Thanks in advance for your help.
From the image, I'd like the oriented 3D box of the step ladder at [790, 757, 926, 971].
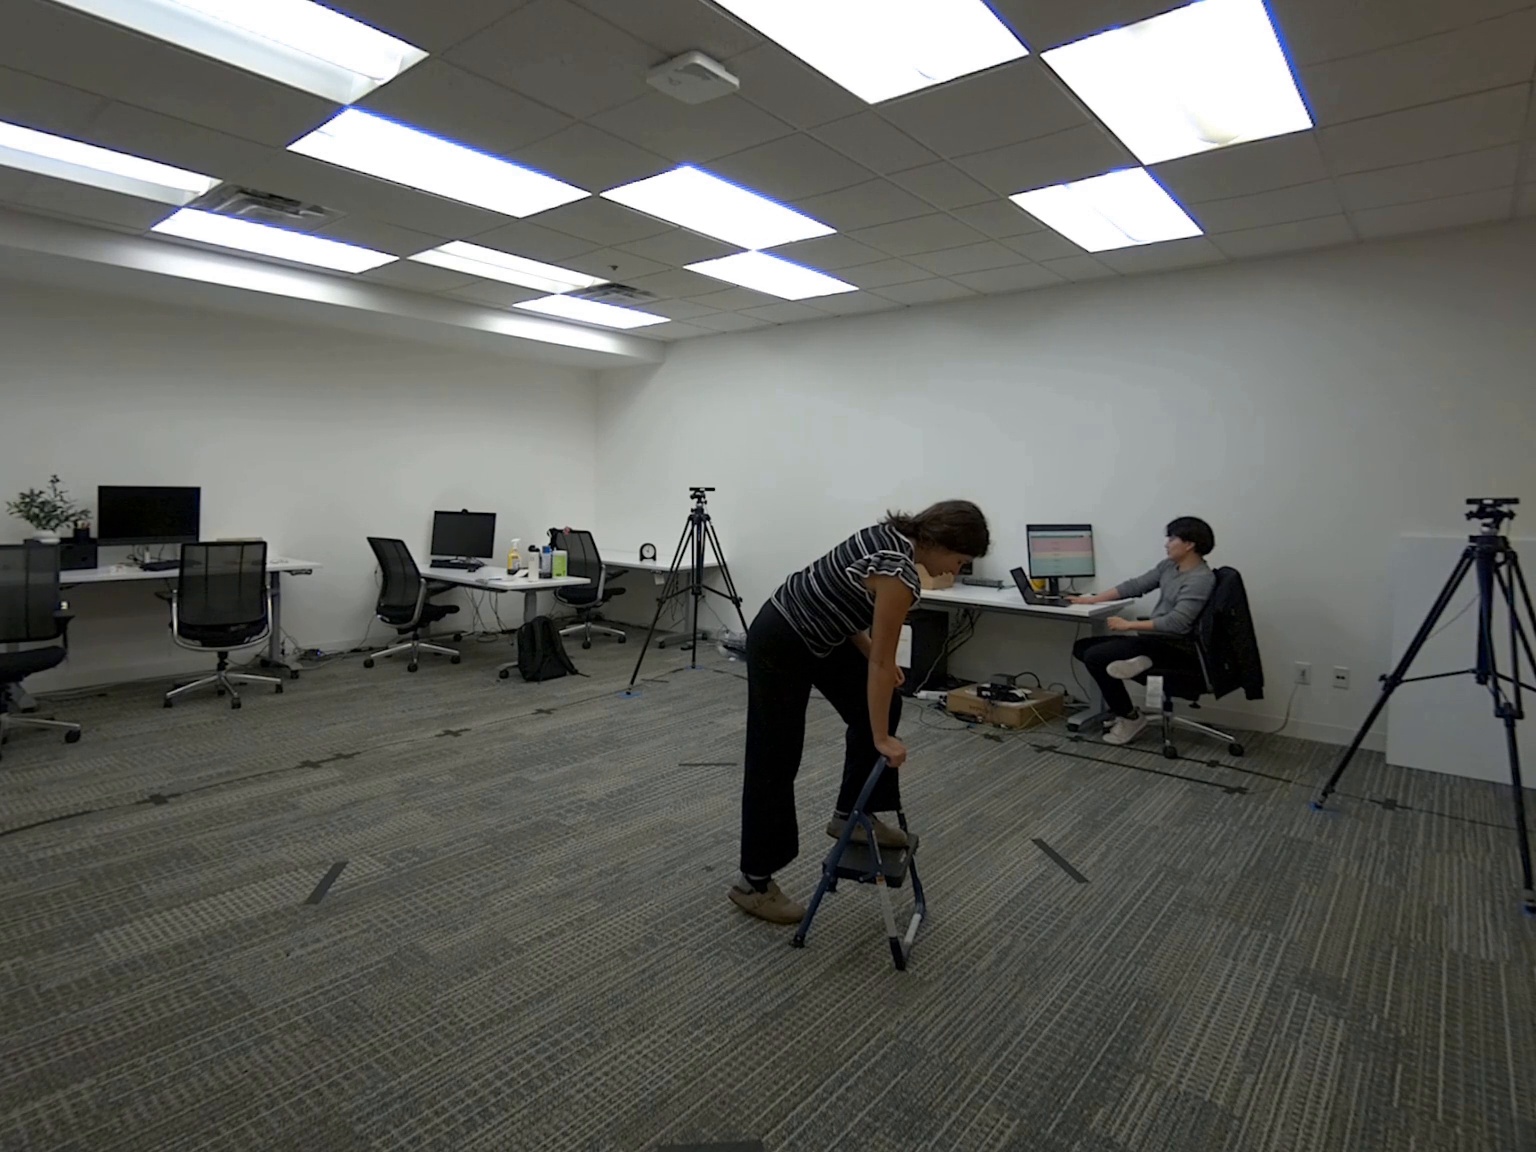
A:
[{"bbox_3d":[0.301,0.817,2.703,0.357,0.604,0.422,3,4,20],"label":"step ladder"}]
